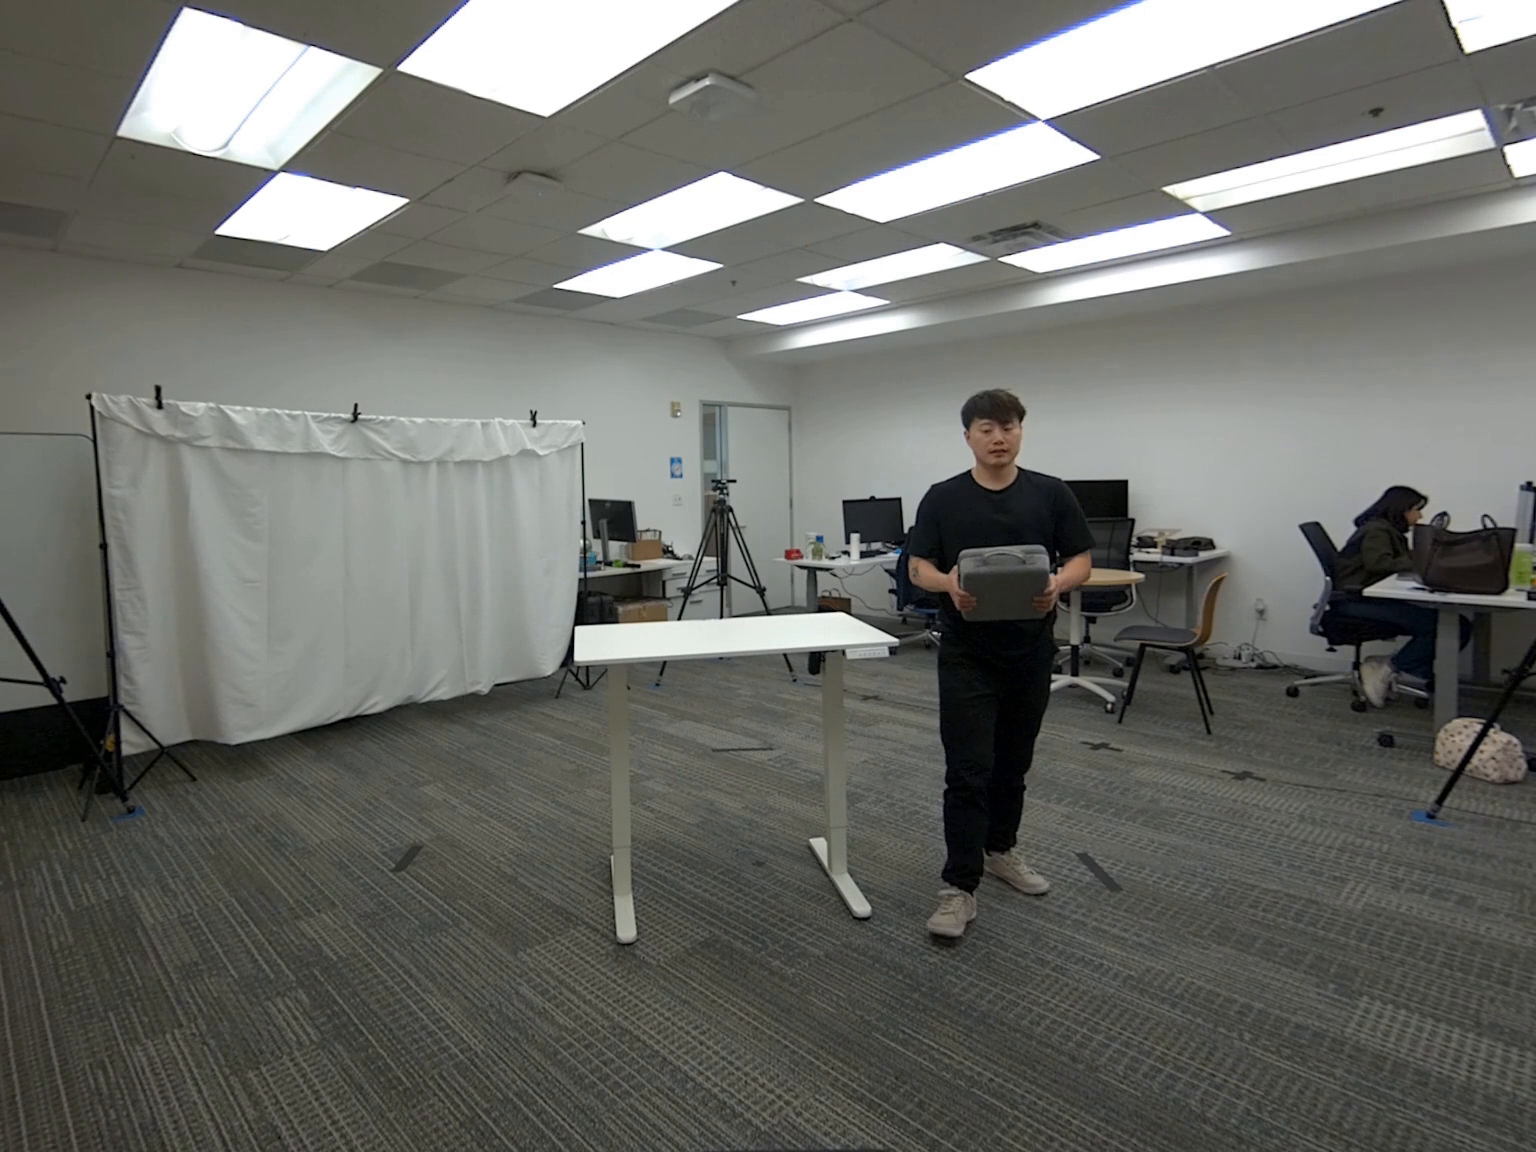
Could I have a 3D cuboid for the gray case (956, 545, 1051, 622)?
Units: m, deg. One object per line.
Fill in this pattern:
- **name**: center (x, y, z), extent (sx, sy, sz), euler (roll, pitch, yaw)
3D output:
- **gray case**: center (0.694, 0.022, 2.548), extent (0.260, 0.107, 0.251), euler (-4, -41, 14)
